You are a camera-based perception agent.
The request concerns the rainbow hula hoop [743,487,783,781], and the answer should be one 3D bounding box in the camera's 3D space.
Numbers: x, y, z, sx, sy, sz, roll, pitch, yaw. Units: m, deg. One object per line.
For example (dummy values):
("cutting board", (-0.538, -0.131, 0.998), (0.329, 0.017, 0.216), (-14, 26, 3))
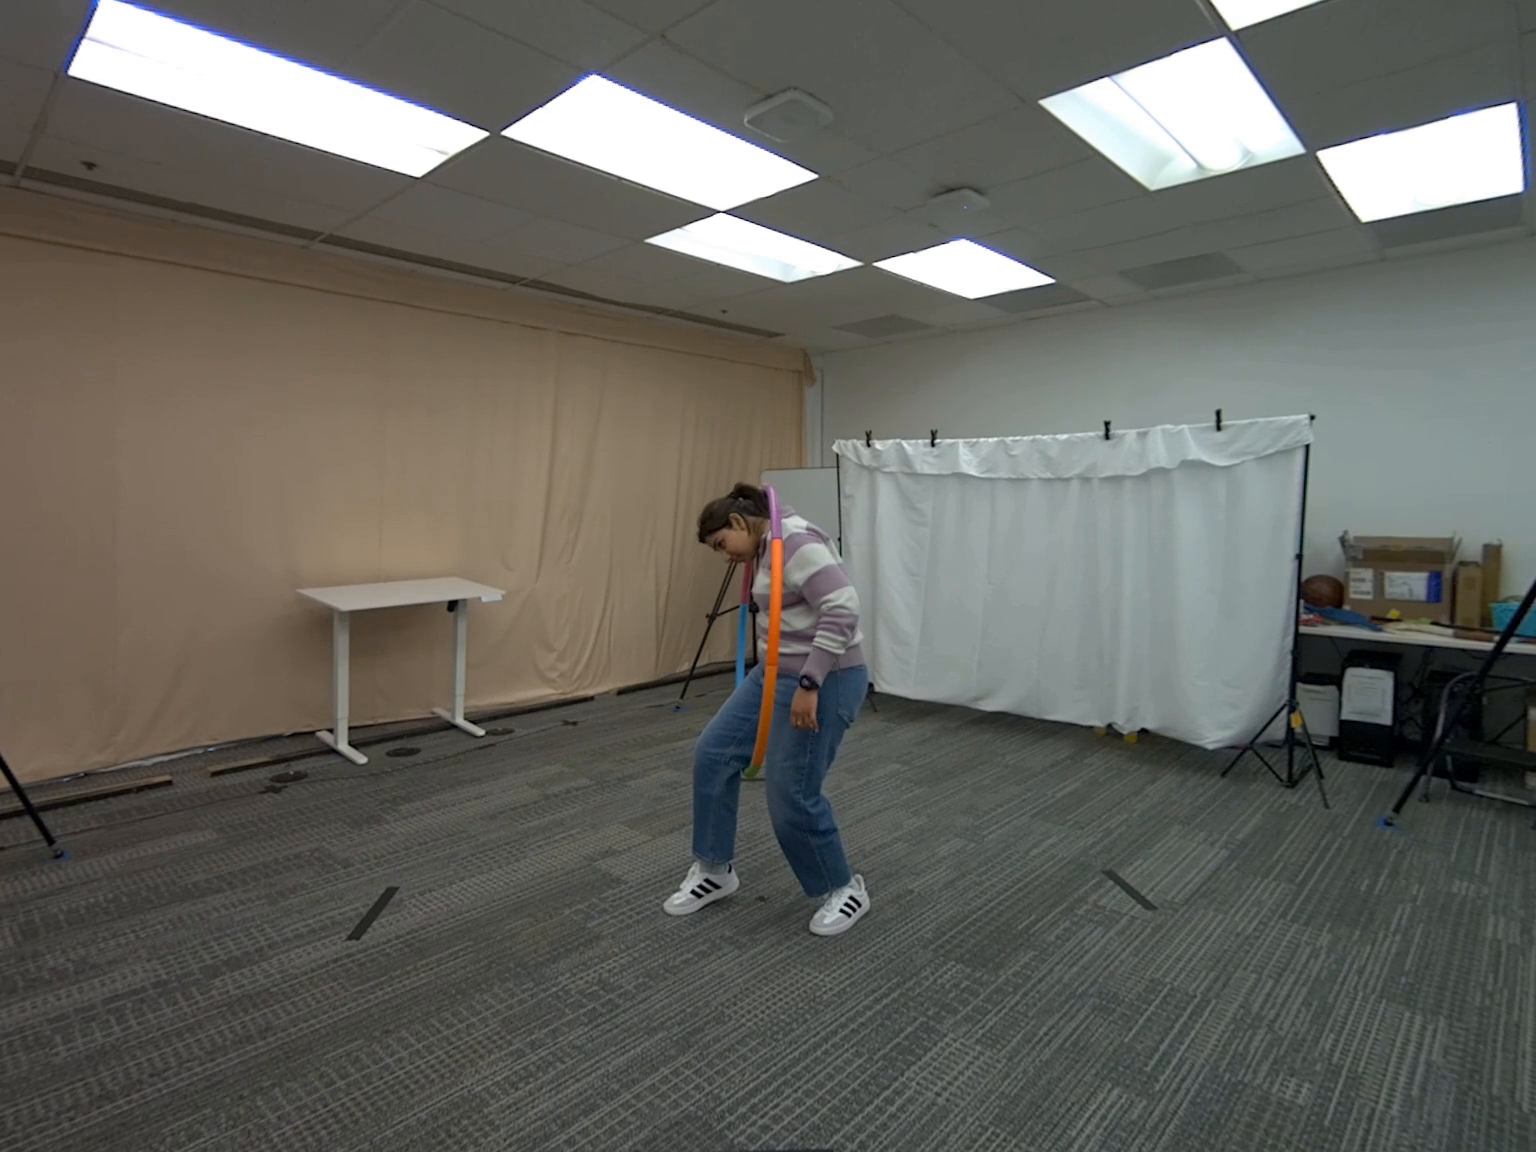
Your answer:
("rainbow hula hoop", (-0.033, 0.178, 2.881), (0.051, 0.984, 0.992), (4, 3, -7))
